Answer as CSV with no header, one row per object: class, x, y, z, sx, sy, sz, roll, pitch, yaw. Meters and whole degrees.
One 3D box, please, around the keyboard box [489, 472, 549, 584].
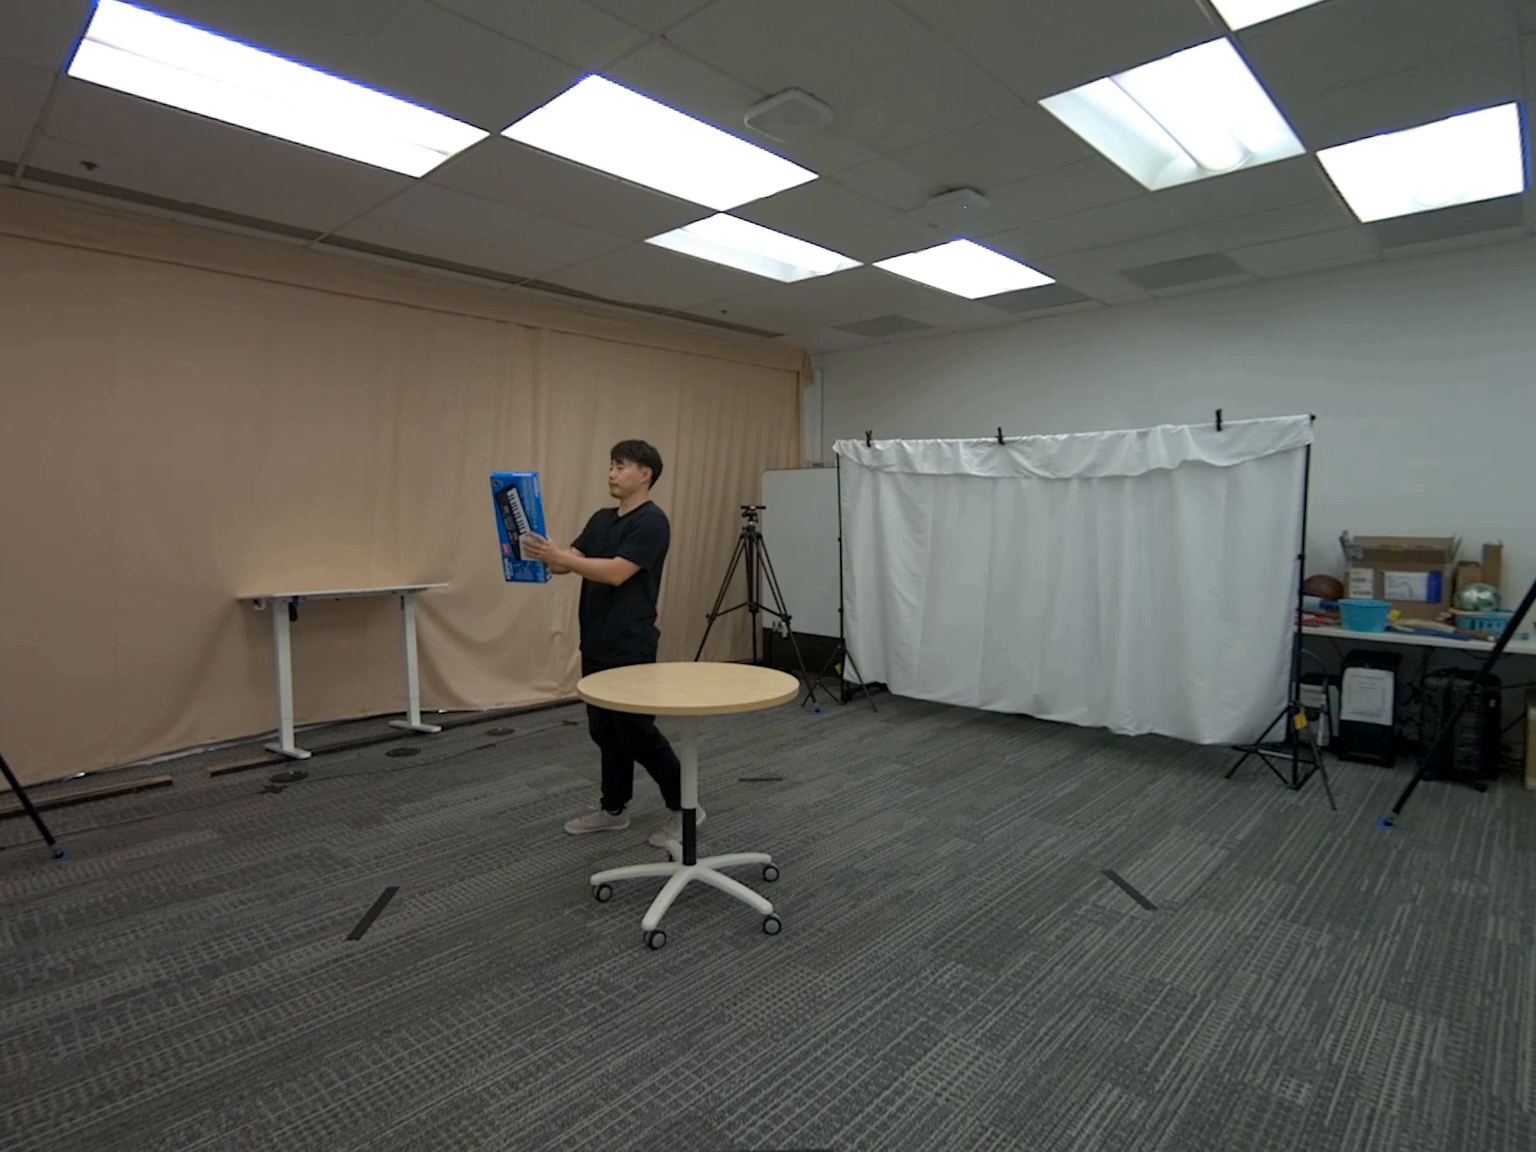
keyboard box,-0.945,-0.181,3.230,0.178,0.431,0.059,1,22,9
